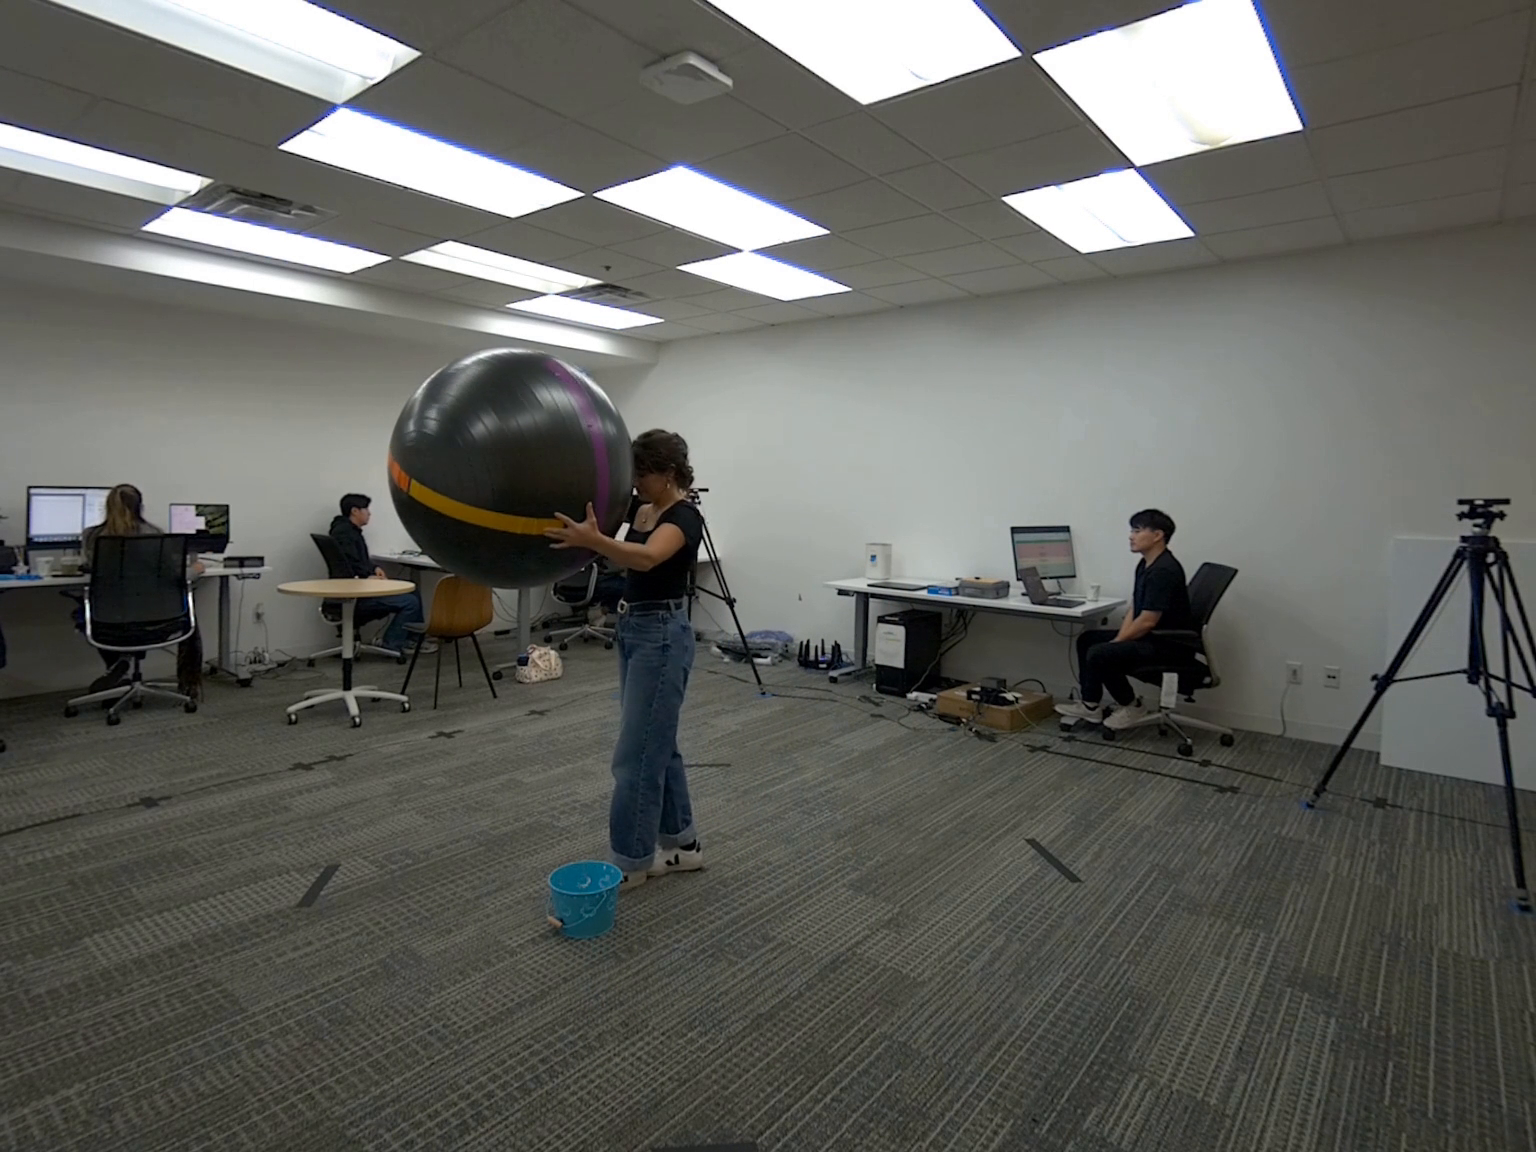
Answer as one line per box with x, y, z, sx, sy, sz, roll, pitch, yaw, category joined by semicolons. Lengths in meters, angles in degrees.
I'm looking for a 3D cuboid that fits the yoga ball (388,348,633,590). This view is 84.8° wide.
-0.810;-0.335;2.689;0.757;0.755;0.762;1;4;-2;yoga ball
